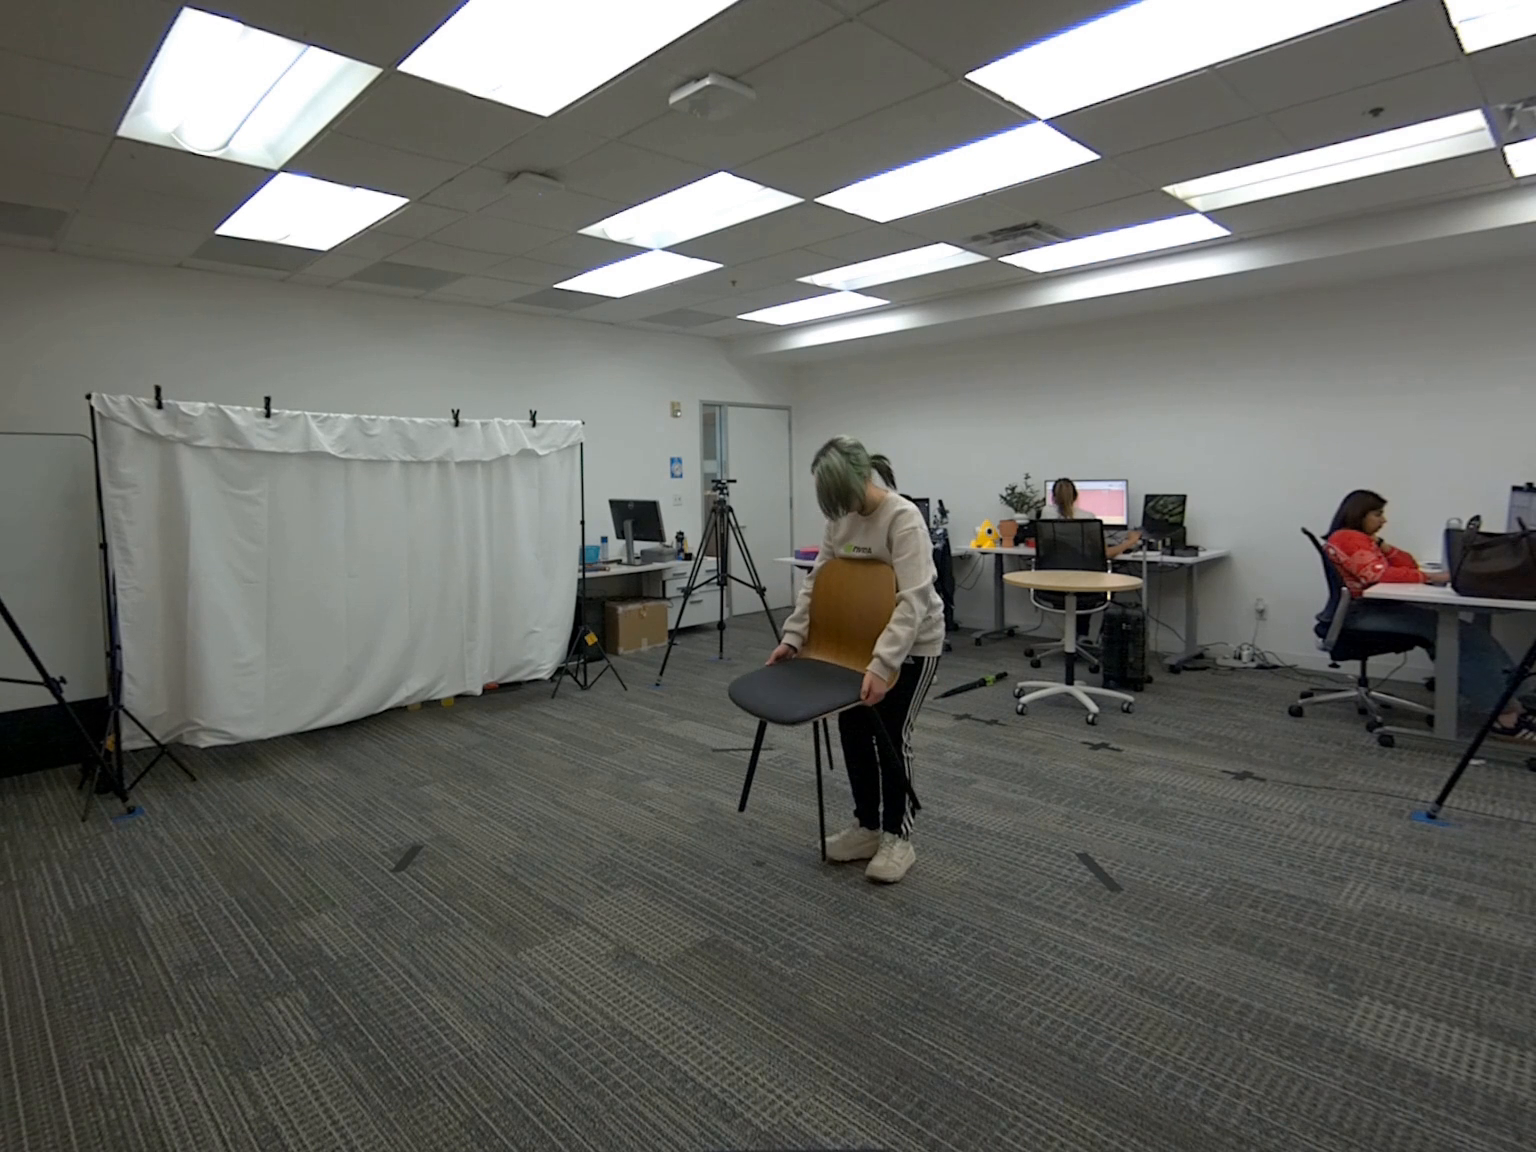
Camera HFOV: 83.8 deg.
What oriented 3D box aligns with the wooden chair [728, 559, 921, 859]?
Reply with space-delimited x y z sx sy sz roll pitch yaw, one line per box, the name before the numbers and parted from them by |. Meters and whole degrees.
wooden chair | 0.164 0.414 2.881 0.511 0.870 0.493 -8 11 -37
